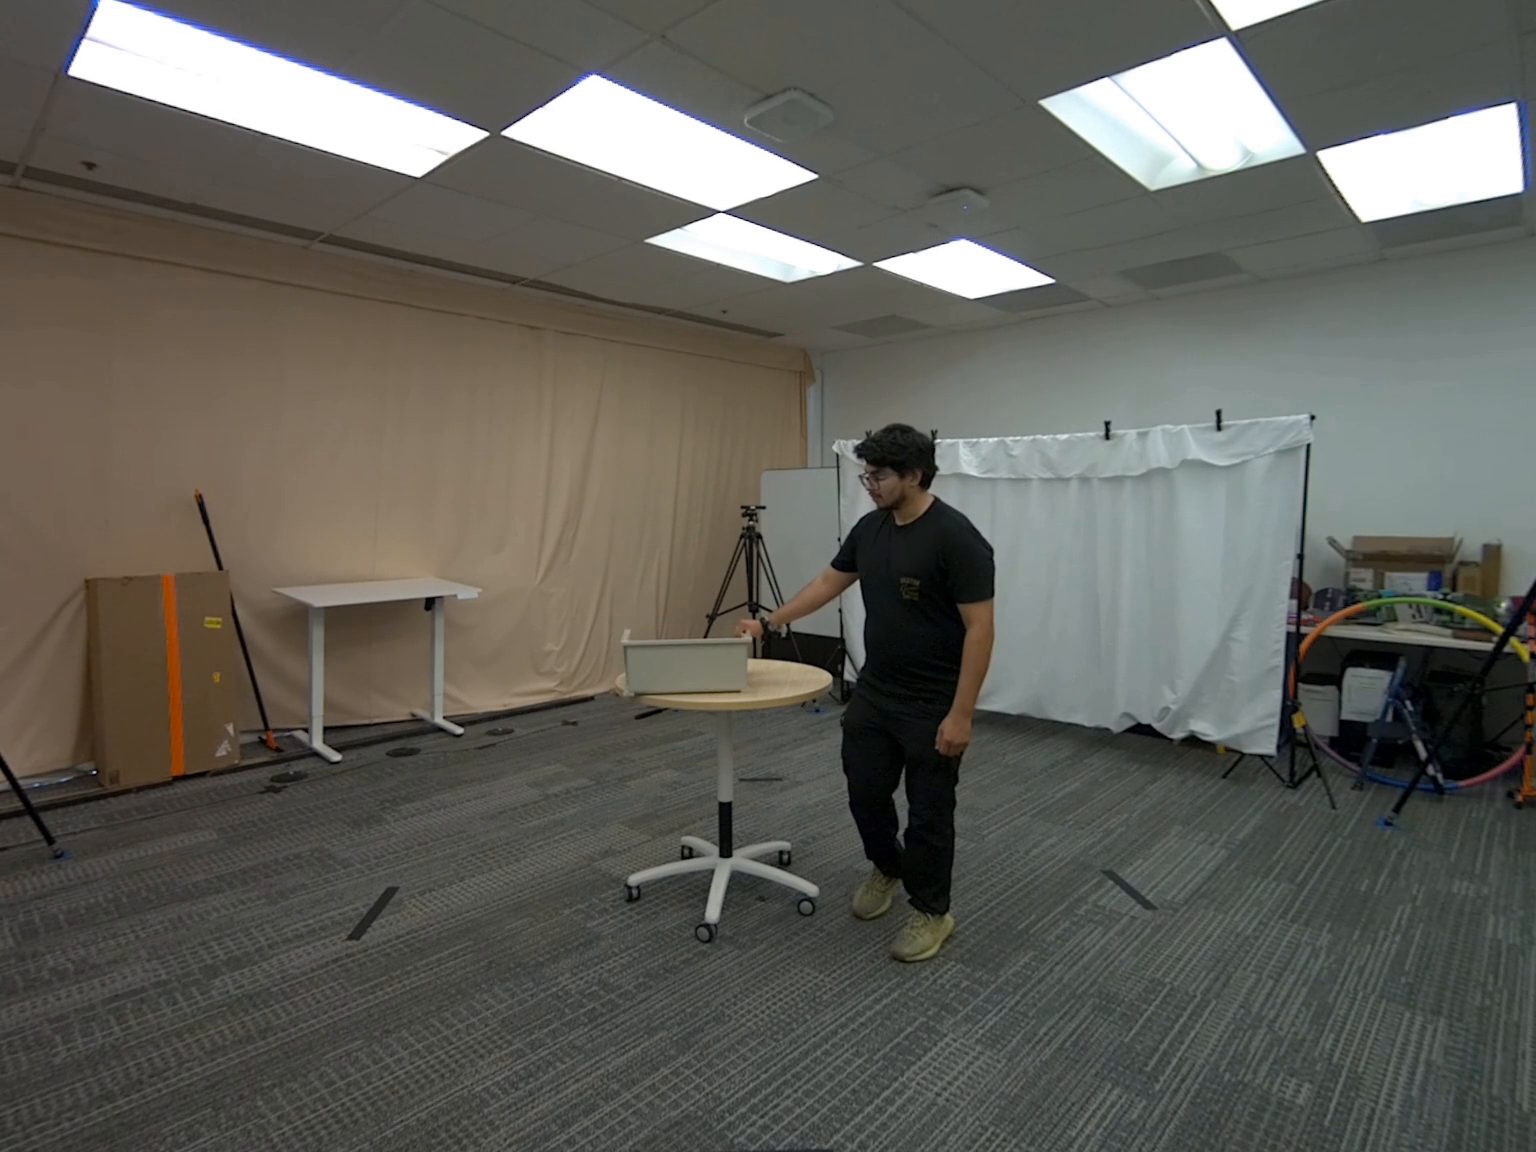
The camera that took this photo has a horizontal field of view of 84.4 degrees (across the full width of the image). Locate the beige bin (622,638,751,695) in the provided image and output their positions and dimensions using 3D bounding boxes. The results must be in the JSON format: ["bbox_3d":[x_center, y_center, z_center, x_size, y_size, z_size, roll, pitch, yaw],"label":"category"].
[{"bbox_3d":[-0.282,0.277,2.888,0.421,0.188,0.380,0,5,-4],"label":"beige bin"}]
